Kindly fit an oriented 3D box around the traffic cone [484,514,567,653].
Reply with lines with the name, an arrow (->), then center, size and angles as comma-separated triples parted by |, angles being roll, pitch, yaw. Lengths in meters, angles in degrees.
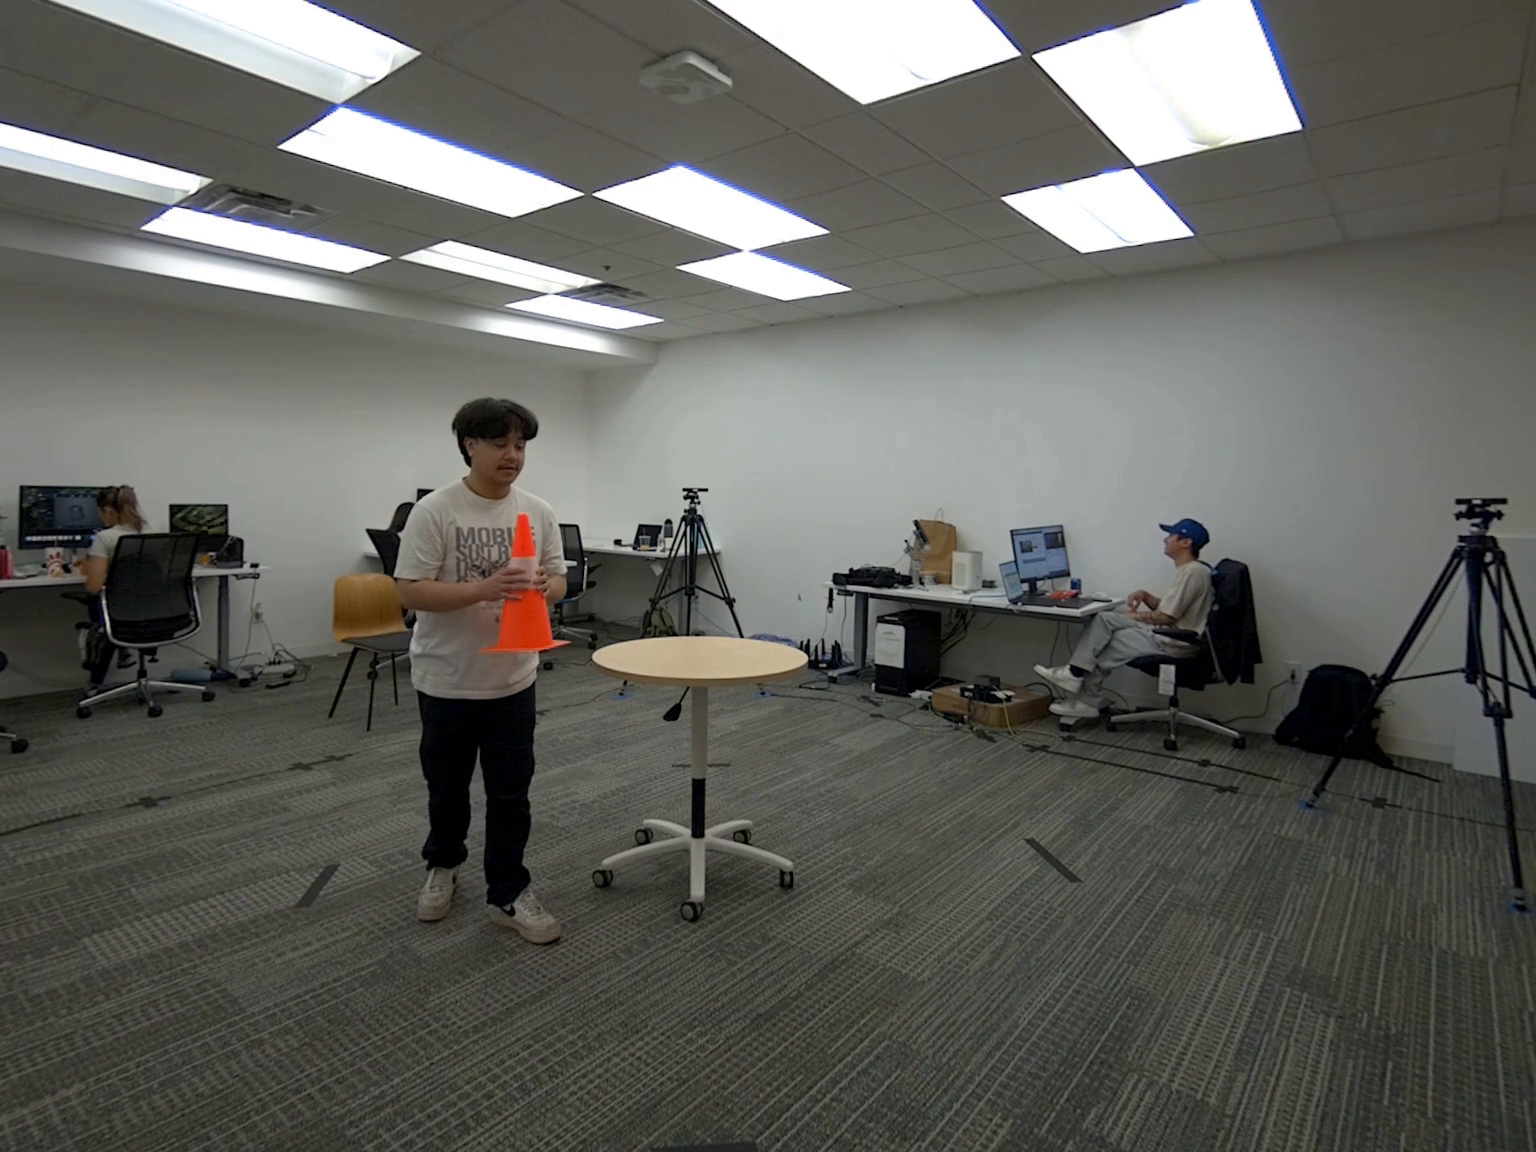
traffic cone -> -0.715, 0.010, 2.447 | 0.209, 0.383, 0.199 | -1, 1, 21
